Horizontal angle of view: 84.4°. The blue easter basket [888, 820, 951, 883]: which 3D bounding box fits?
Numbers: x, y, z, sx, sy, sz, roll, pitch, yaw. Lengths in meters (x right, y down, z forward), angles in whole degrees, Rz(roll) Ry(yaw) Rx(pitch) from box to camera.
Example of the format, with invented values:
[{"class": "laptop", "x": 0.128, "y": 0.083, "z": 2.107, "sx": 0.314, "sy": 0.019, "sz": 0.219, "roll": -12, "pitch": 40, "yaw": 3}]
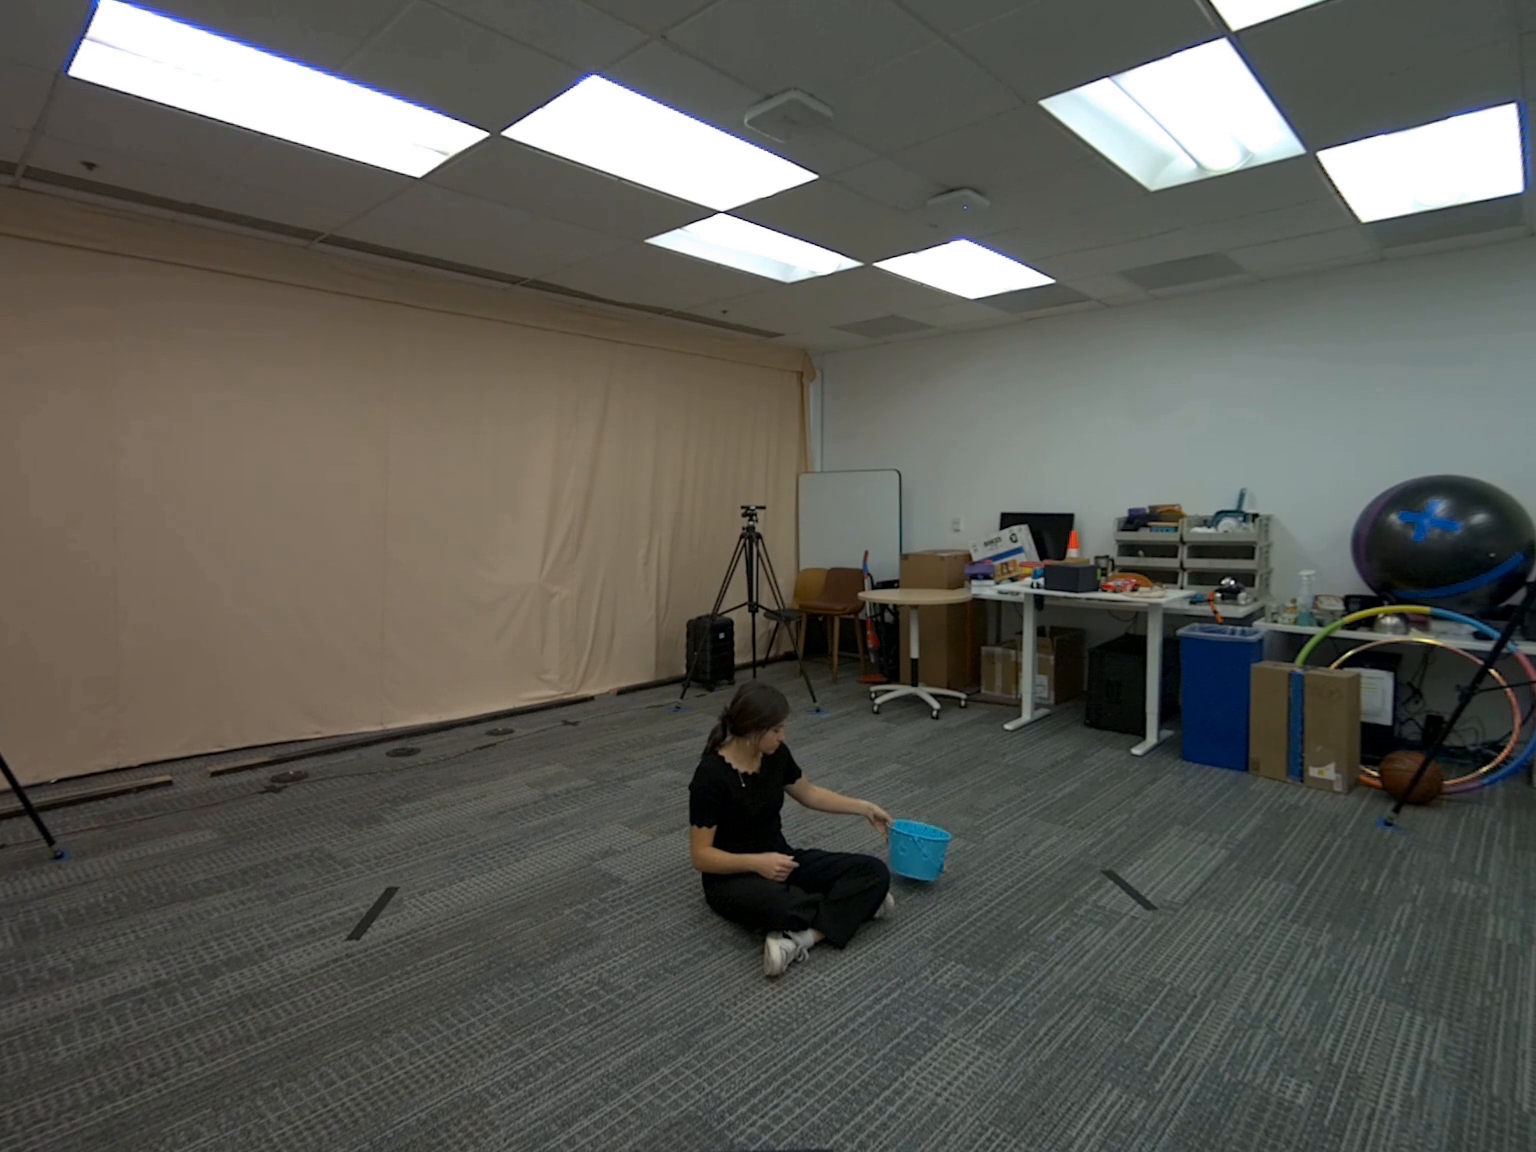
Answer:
[{"class": "blue easter basket", "x": 0.552, "y": 1.003, "z": 3.073, "sx": 0.243, "sy": 0.156, "sz": 0.243, "roll": 8, "pitch": -3, "yaw": -1}]
